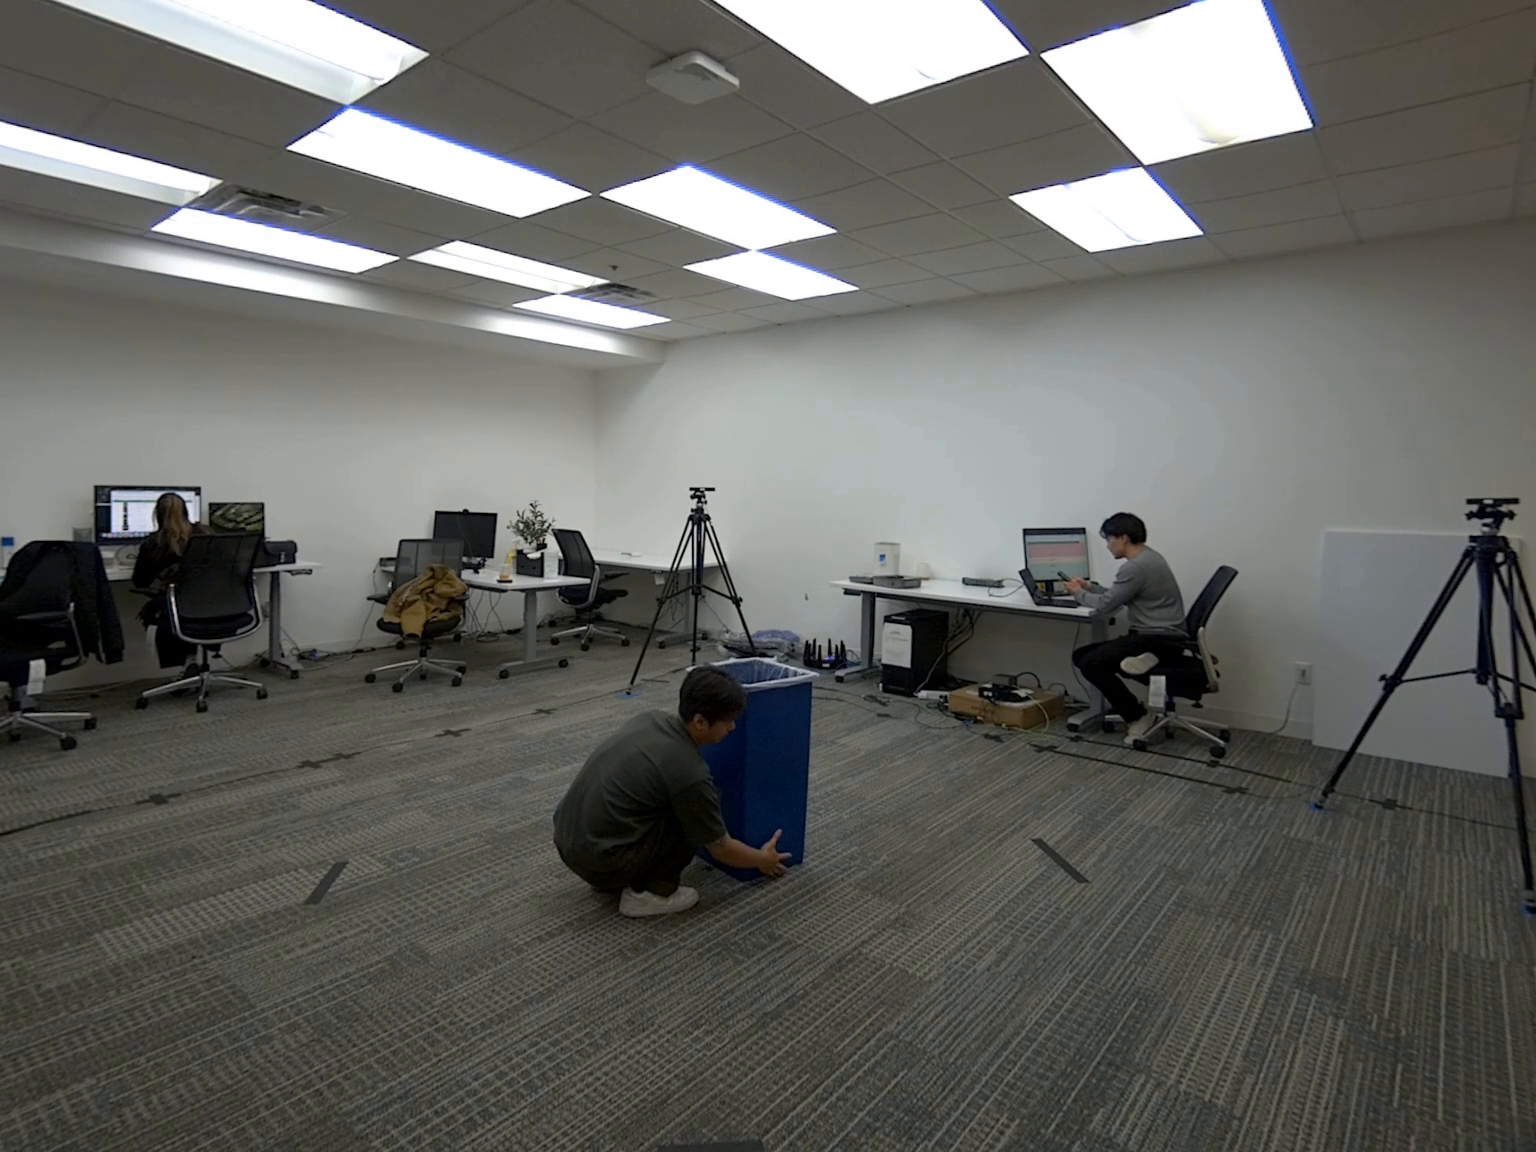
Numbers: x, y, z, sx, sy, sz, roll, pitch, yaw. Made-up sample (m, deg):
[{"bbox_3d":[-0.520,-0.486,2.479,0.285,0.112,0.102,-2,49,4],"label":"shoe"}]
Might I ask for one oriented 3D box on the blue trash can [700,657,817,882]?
[{"bbox_3d":[-0.082,0.700,3.195,0.367,0.711,0.387,-2,5,-39],"label":"blue trash can"}]
